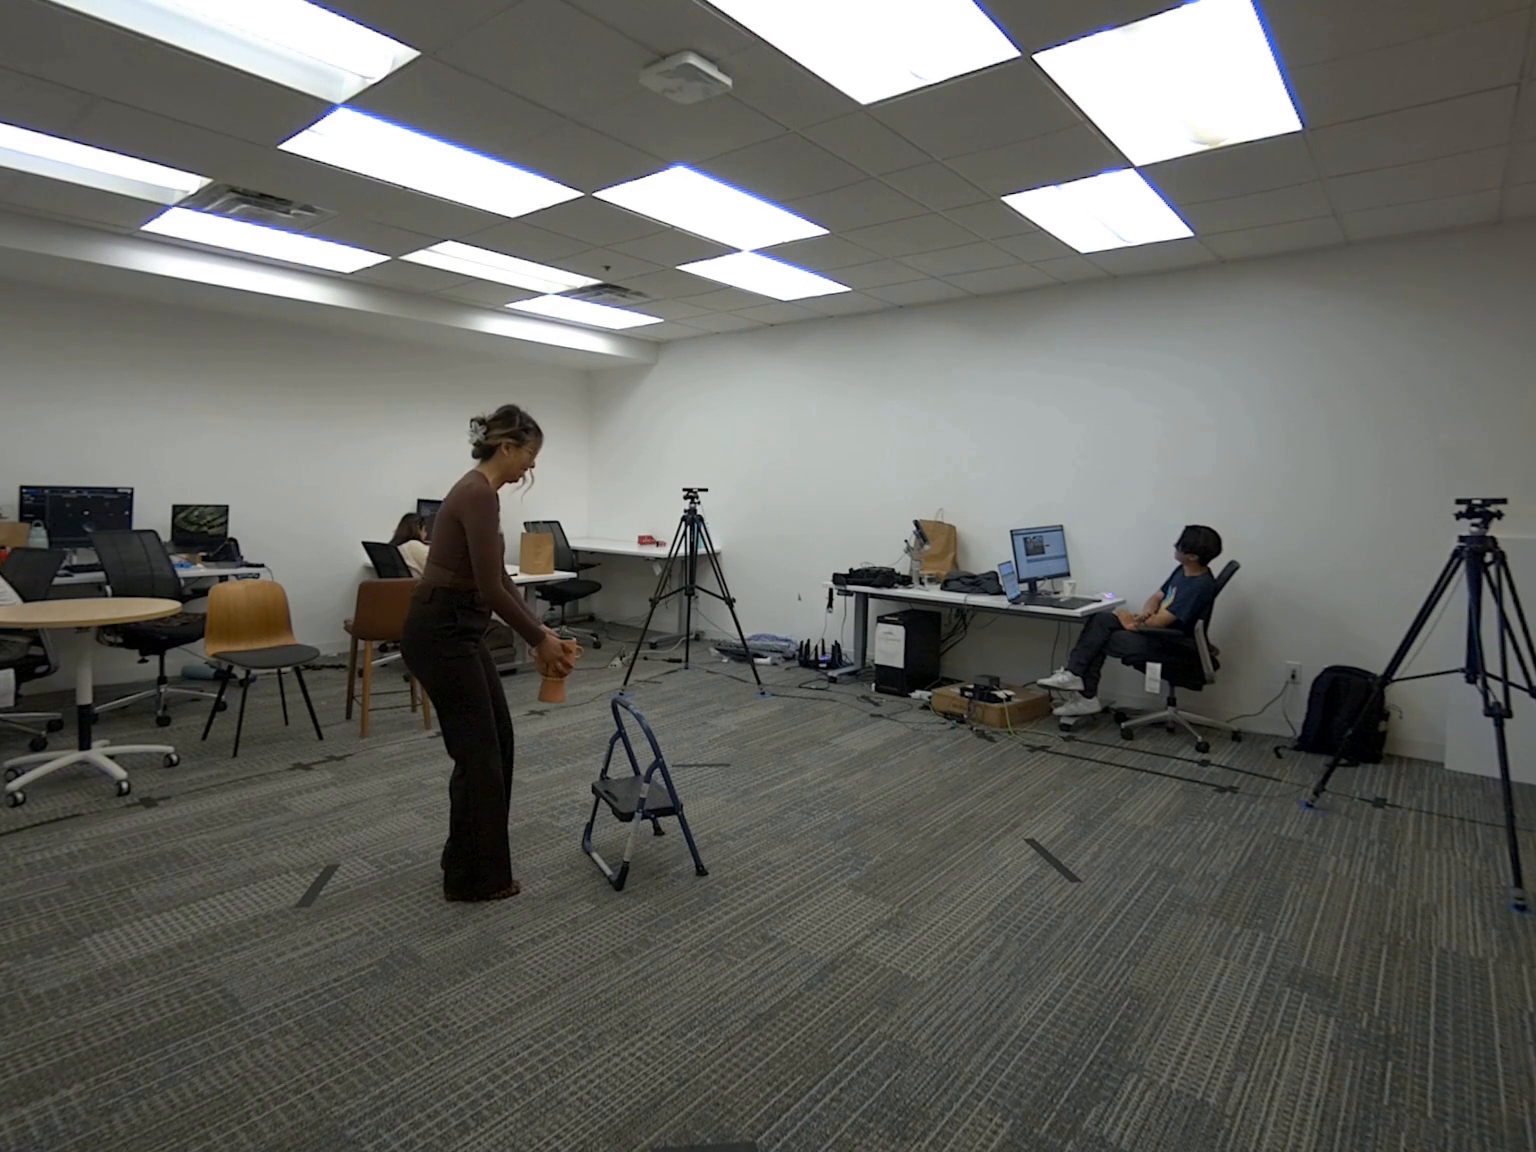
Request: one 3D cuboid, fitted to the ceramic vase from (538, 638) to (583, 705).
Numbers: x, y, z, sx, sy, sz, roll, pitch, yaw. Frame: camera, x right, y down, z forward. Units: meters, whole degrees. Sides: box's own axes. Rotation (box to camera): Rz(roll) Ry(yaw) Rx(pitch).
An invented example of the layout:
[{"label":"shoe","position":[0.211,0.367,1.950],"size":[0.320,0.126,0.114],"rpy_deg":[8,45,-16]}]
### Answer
[{"label":"ceramic vase","position":[-0.763,0.333,2.984],"size":[0.161,0.219,0.133],"rpy_deg":[6,2,13]}]
